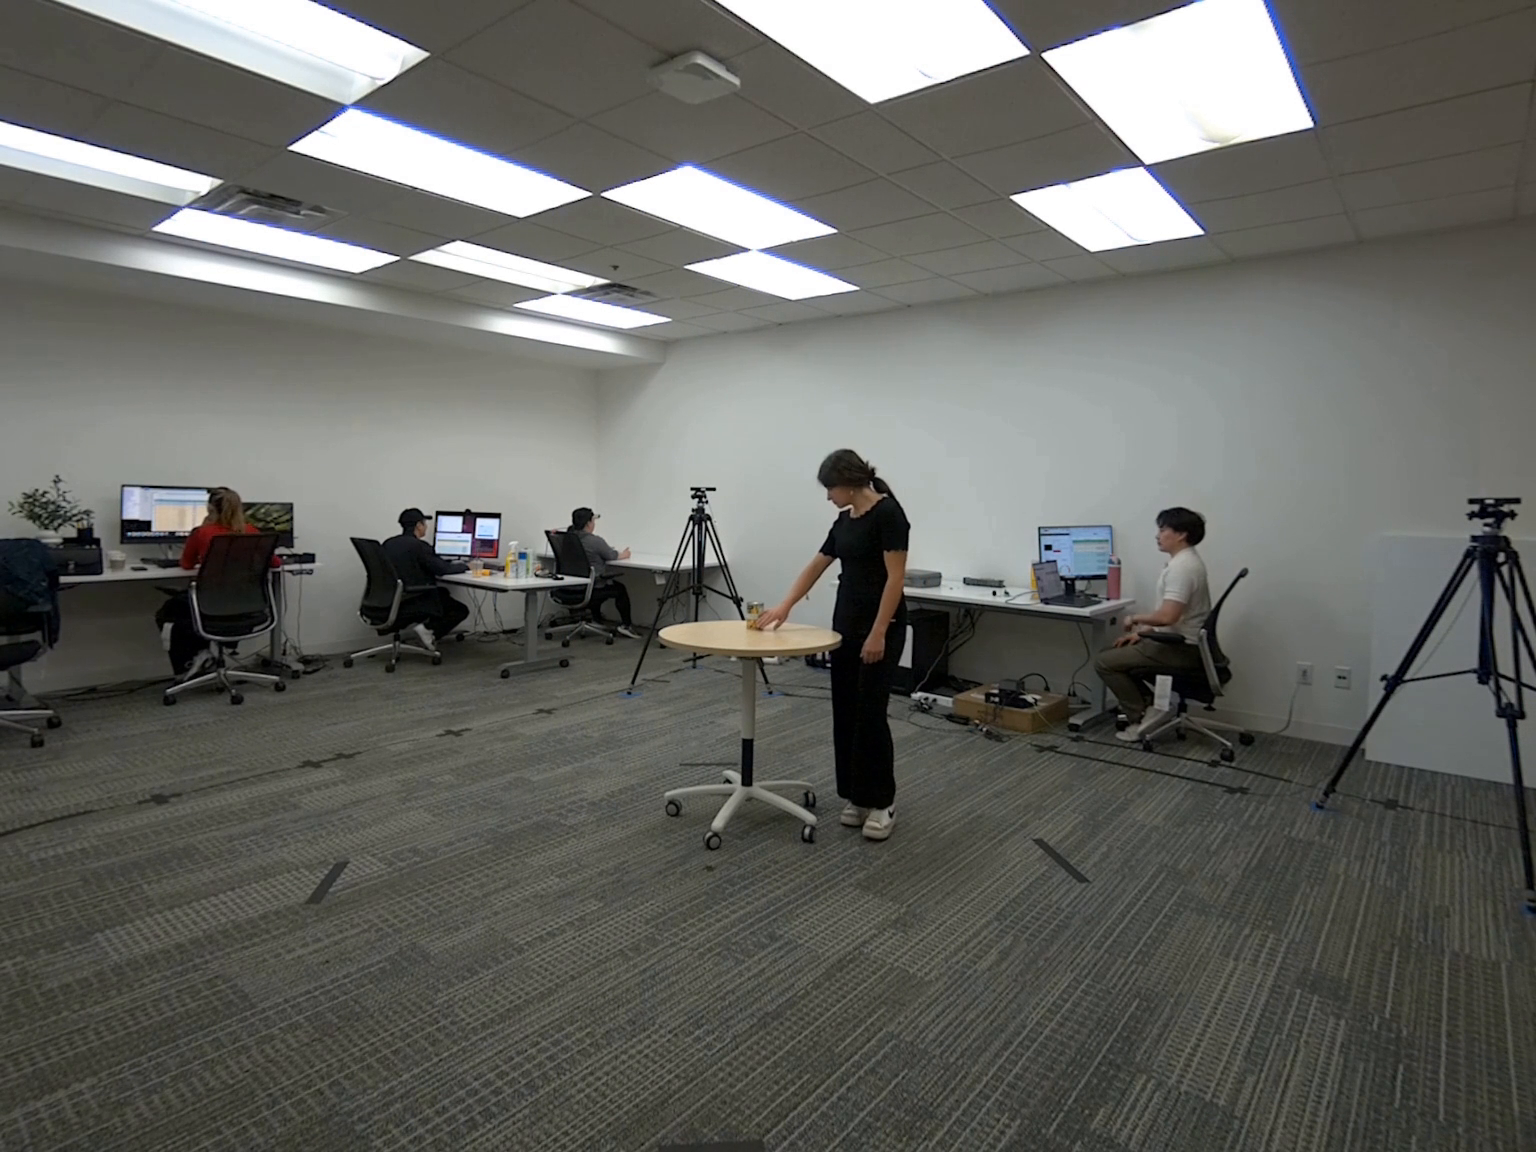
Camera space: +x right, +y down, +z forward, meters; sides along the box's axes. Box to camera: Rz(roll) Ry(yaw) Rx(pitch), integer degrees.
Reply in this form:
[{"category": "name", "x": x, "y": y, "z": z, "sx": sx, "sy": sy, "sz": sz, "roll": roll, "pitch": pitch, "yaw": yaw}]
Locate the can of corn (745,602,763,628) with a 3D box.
[{"category": "can of corn", "x": -0.063, "y": 0.169, "z": 3.722, "sx": 0.074, "sy": 0.111, "sz": 0.074, "roll": 3, "pitch": 2, "yaw": -2}]
